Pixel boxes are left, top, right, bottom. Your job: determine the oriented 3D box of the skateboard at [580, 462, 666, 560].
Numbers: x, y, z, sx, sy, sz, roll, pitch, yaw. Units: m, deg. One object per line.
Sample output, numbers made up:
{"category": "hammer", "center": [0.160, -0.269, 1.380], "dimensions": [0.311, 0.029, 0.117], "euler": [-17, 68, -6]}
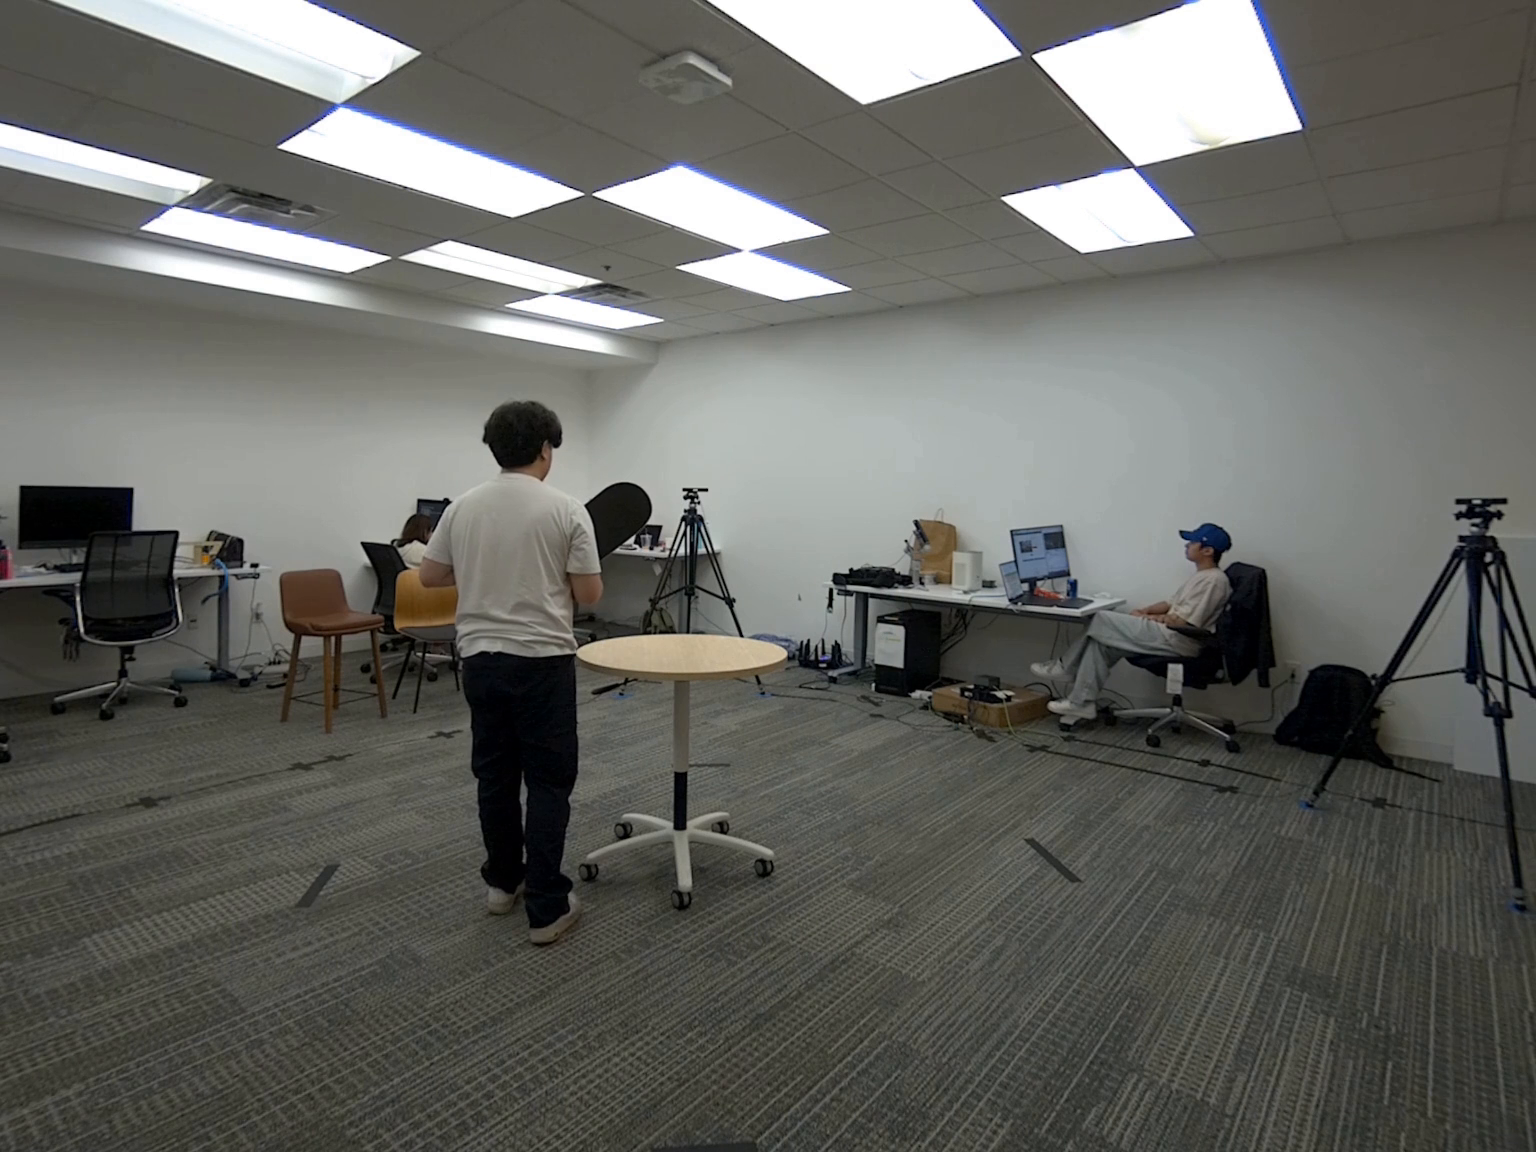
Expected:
{"category": "skateboard", "center": [-0.739, -0.084, 3.044], "dimensions": [0.788, 0.191, 0.111], "euler": [-38, 10, 12]}
